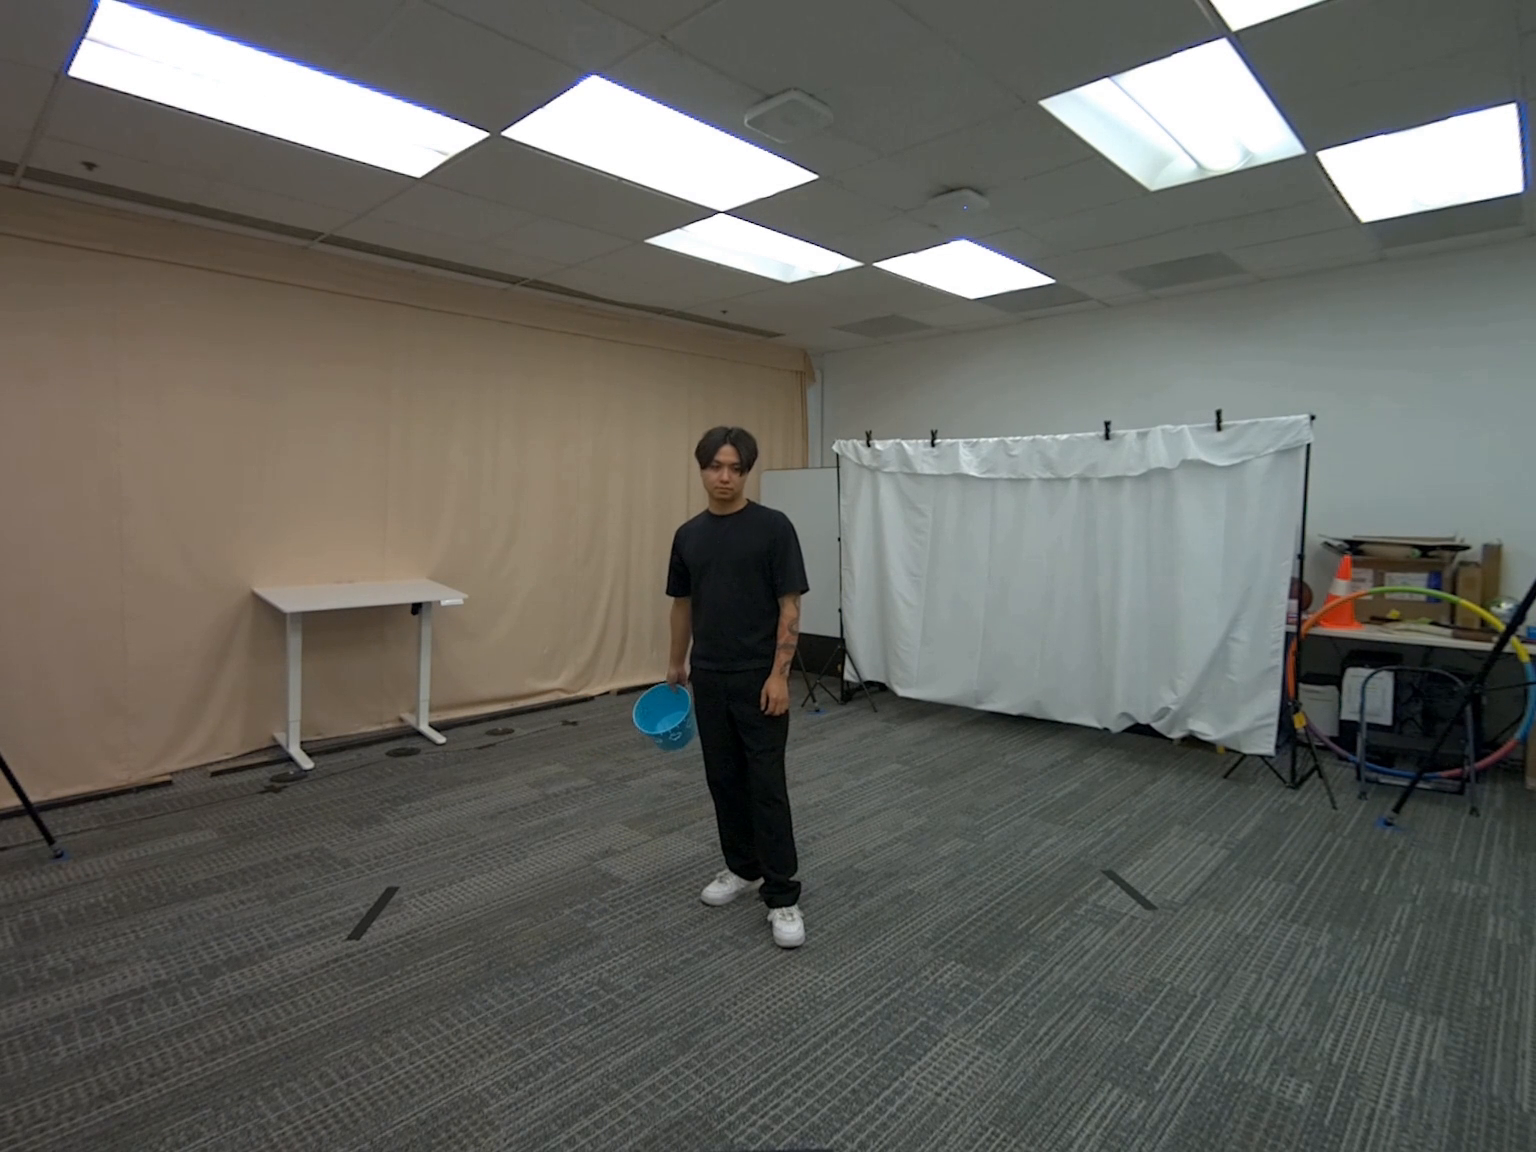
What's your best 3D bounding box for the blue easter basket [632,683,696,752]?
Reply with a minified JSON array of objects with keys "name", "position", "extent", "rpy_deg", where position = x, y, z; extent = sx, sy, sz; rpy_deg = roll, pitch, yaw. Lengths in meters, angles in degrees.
[{"name":"blue easter basket","position":[-0.382,0.539,3.209],"extent":[0.246,0.151,0.248],"rpy_deg":[-13,41,10]}]
